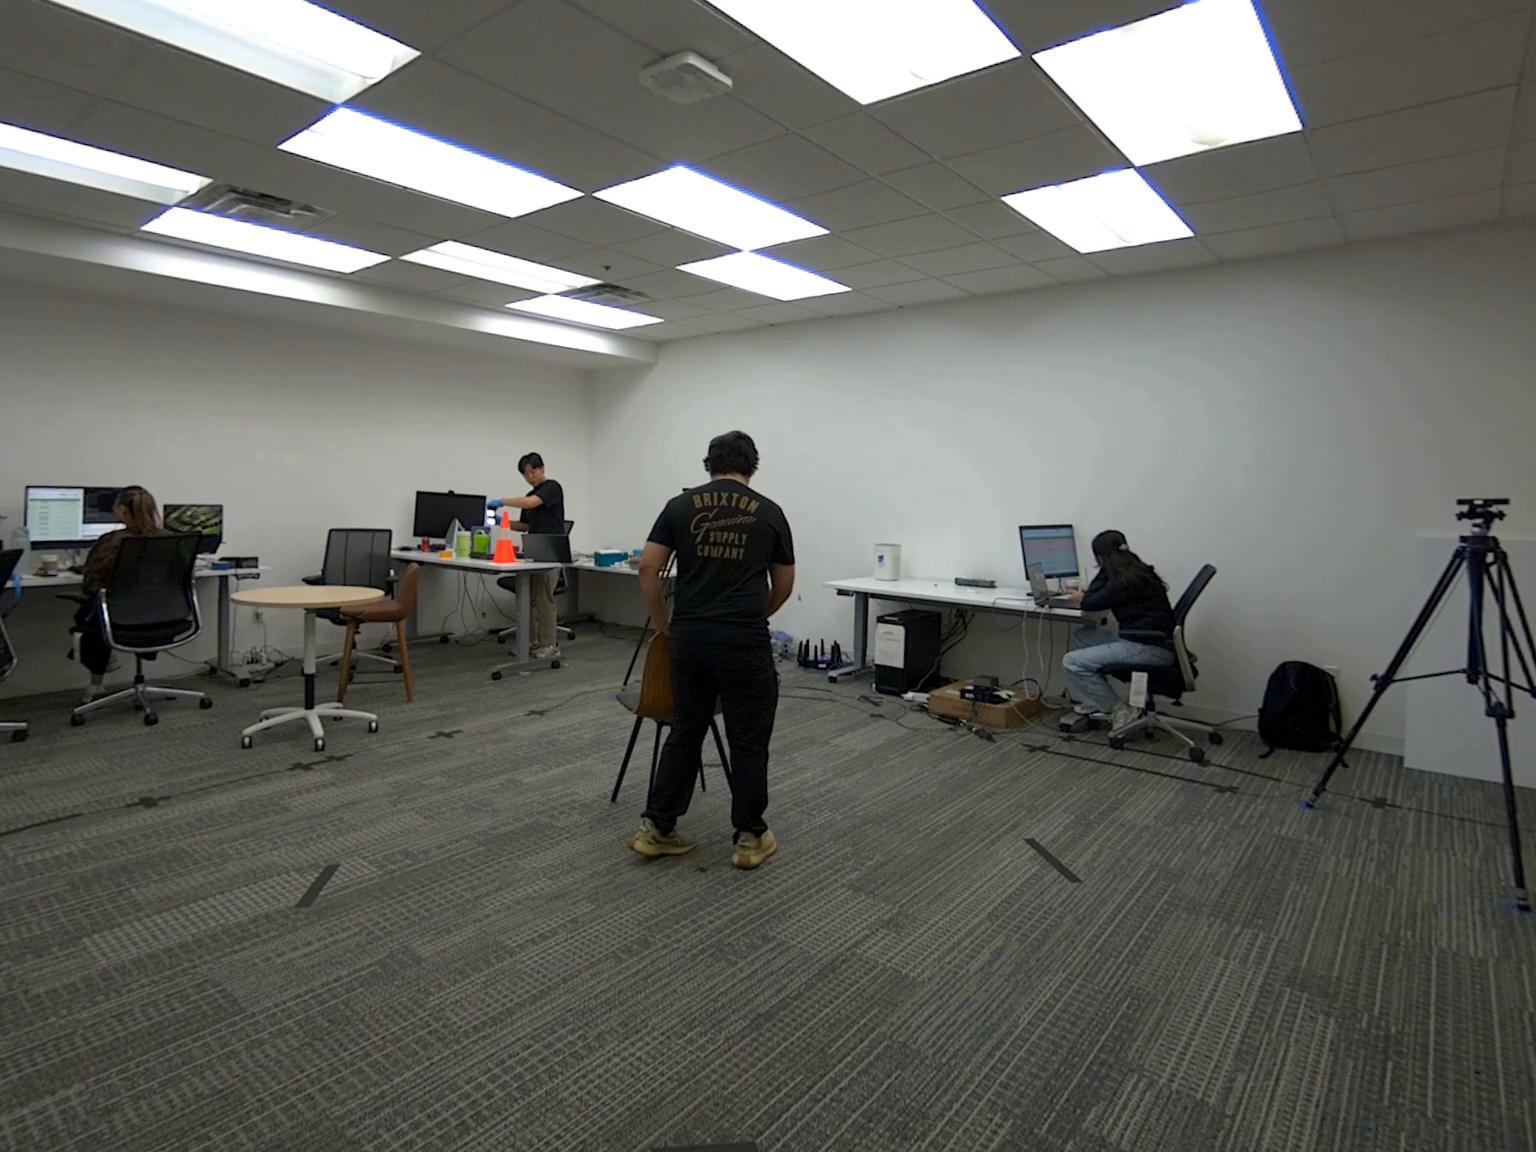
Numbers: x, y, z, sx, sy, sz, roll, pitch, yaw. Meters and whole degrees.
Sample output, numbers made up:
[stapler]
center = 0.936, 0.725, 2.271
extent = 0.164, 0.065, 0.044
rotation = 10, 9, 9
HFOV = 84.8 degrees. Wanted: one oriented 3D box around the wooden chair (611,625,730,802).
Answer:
[wooden chair]
center = -0.407, 0.581, 3.630
extent = 0.467, 0.872, 0.539
rotation = -1, 8, -25
